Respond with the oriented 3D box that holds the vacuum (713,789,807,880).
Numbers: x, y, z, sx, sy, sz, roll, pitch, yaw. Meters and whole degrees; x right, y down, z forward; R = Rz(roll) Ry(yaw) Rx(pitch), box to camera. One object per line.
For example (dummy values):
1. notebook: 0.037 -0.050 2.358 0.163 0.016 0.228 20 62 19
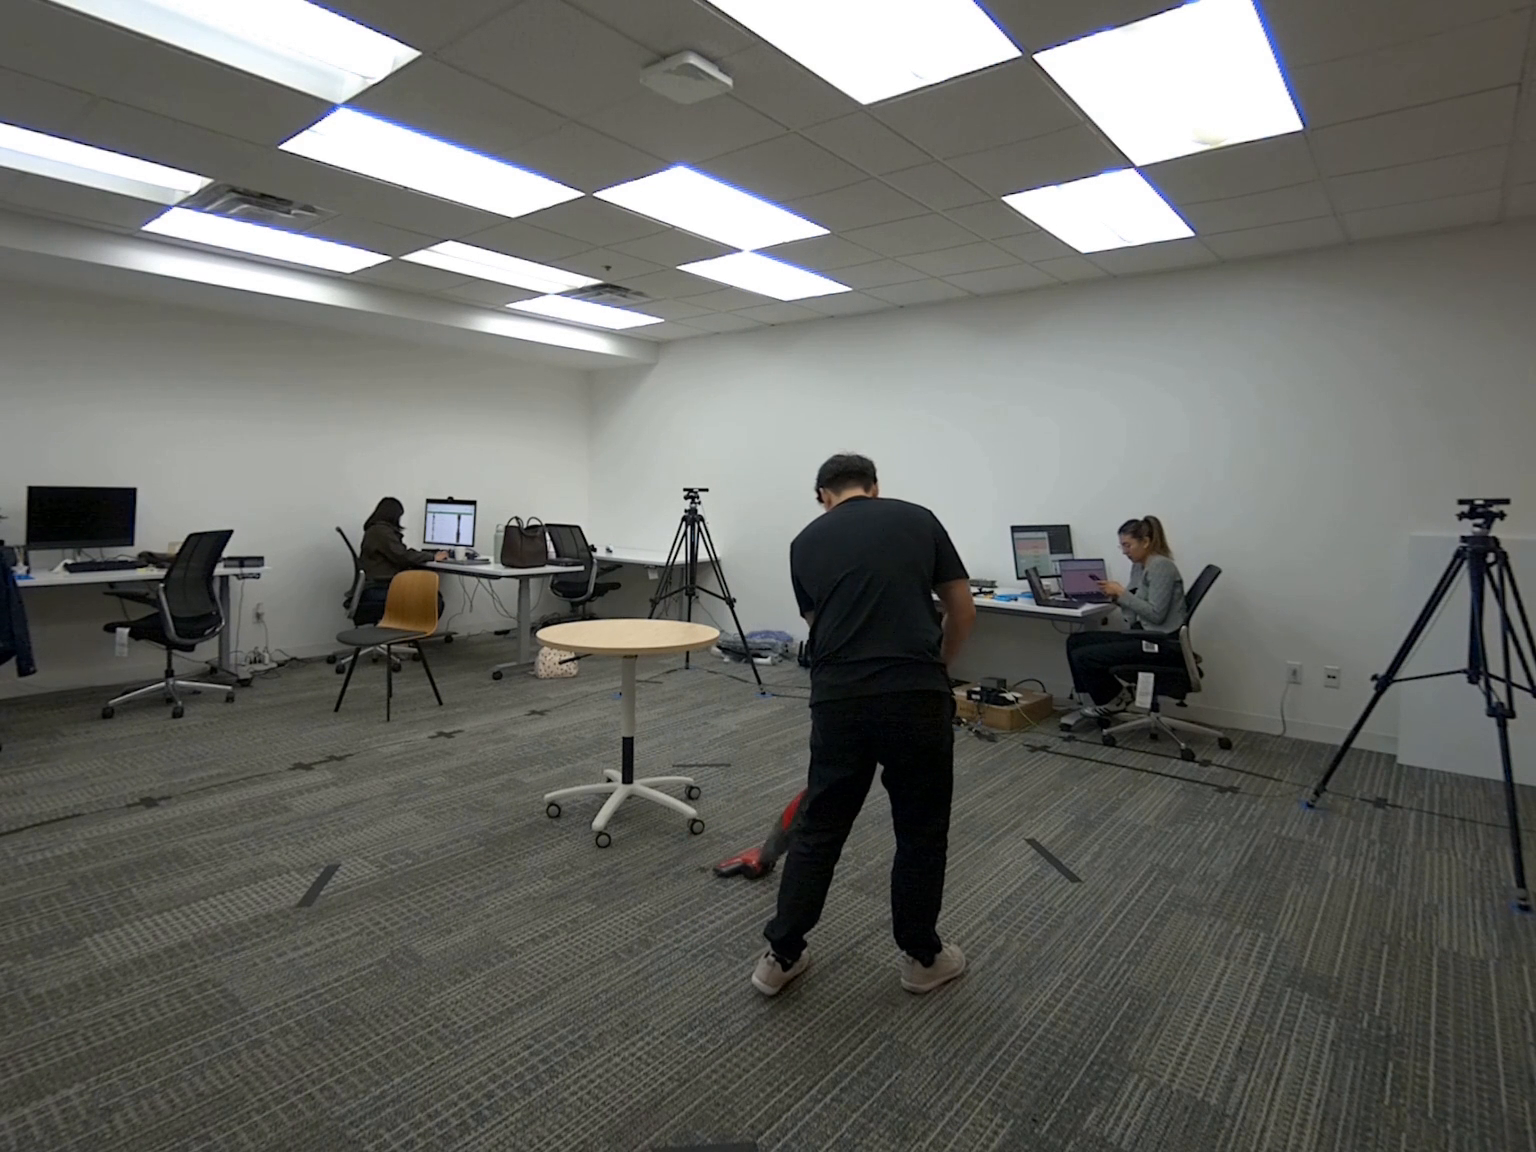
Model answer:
1. vacuum: 0.200 0.717 2.862 0.245 0.148 1.047 -5 -37 -51
